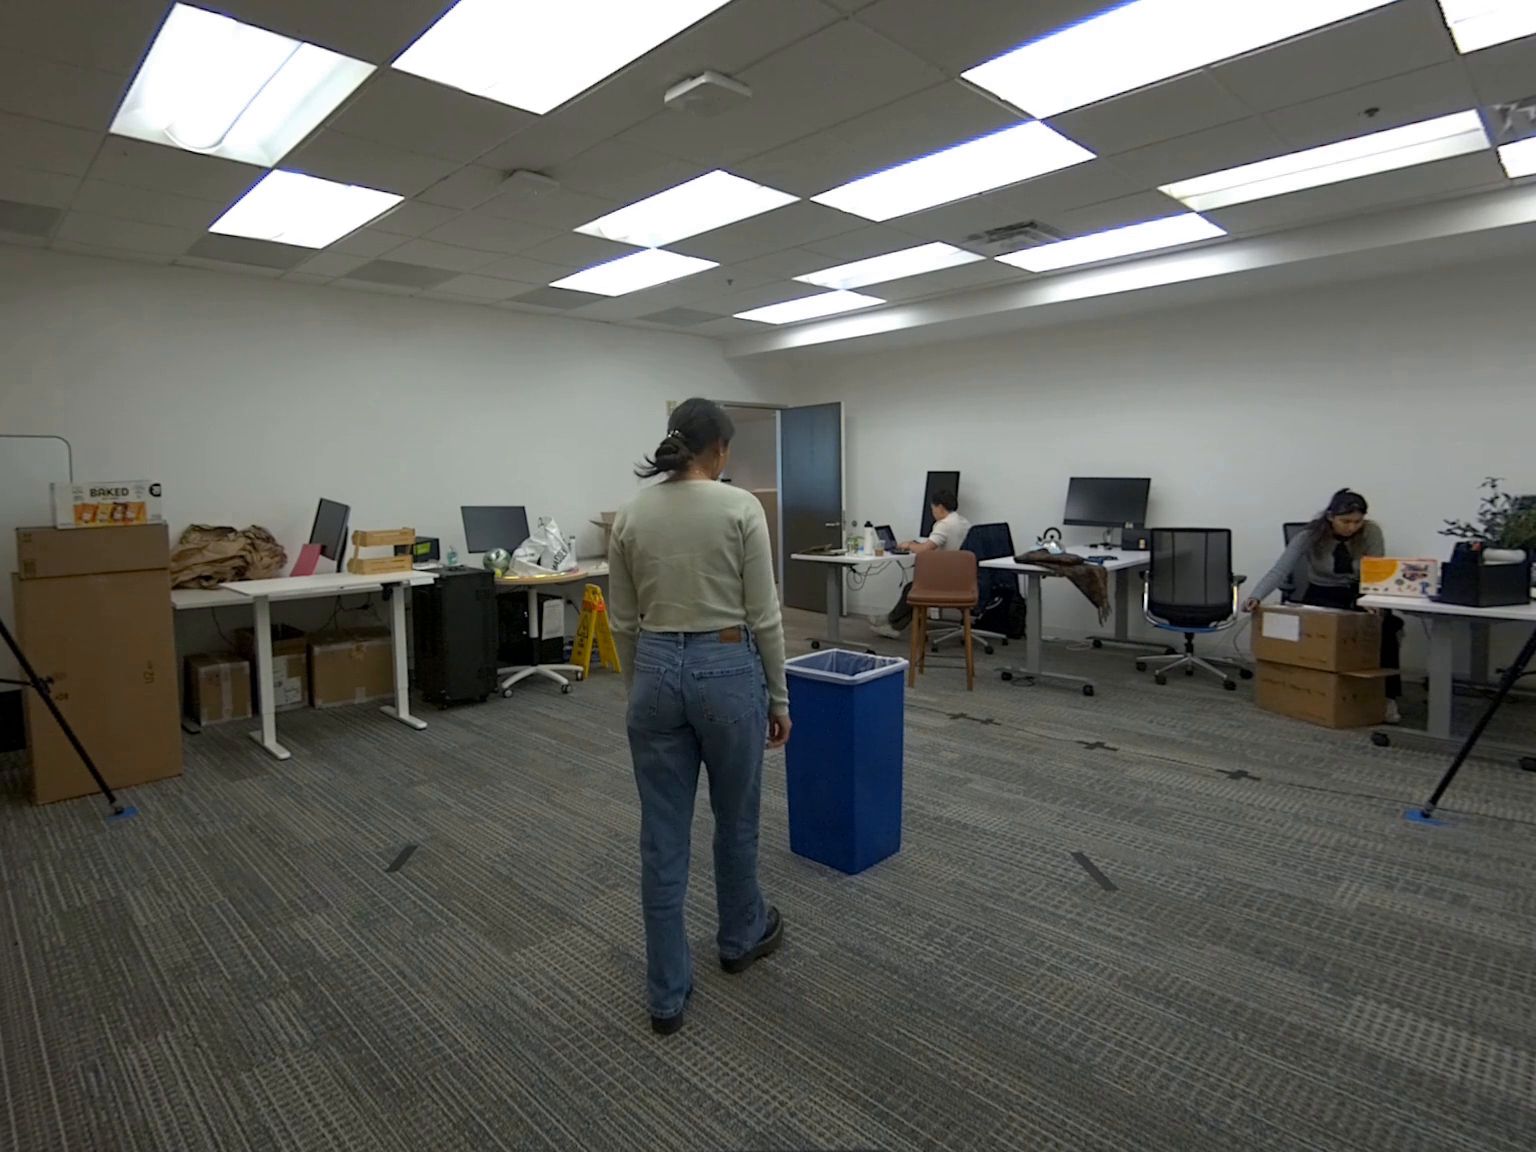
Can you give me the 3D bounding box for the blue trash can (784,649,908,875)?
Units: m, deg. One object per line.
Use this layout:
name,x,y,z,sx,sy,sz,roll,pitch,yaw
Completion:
blue trash can,0.284,0.673,3.170,0.389,0.711,0.364,2,5,44
